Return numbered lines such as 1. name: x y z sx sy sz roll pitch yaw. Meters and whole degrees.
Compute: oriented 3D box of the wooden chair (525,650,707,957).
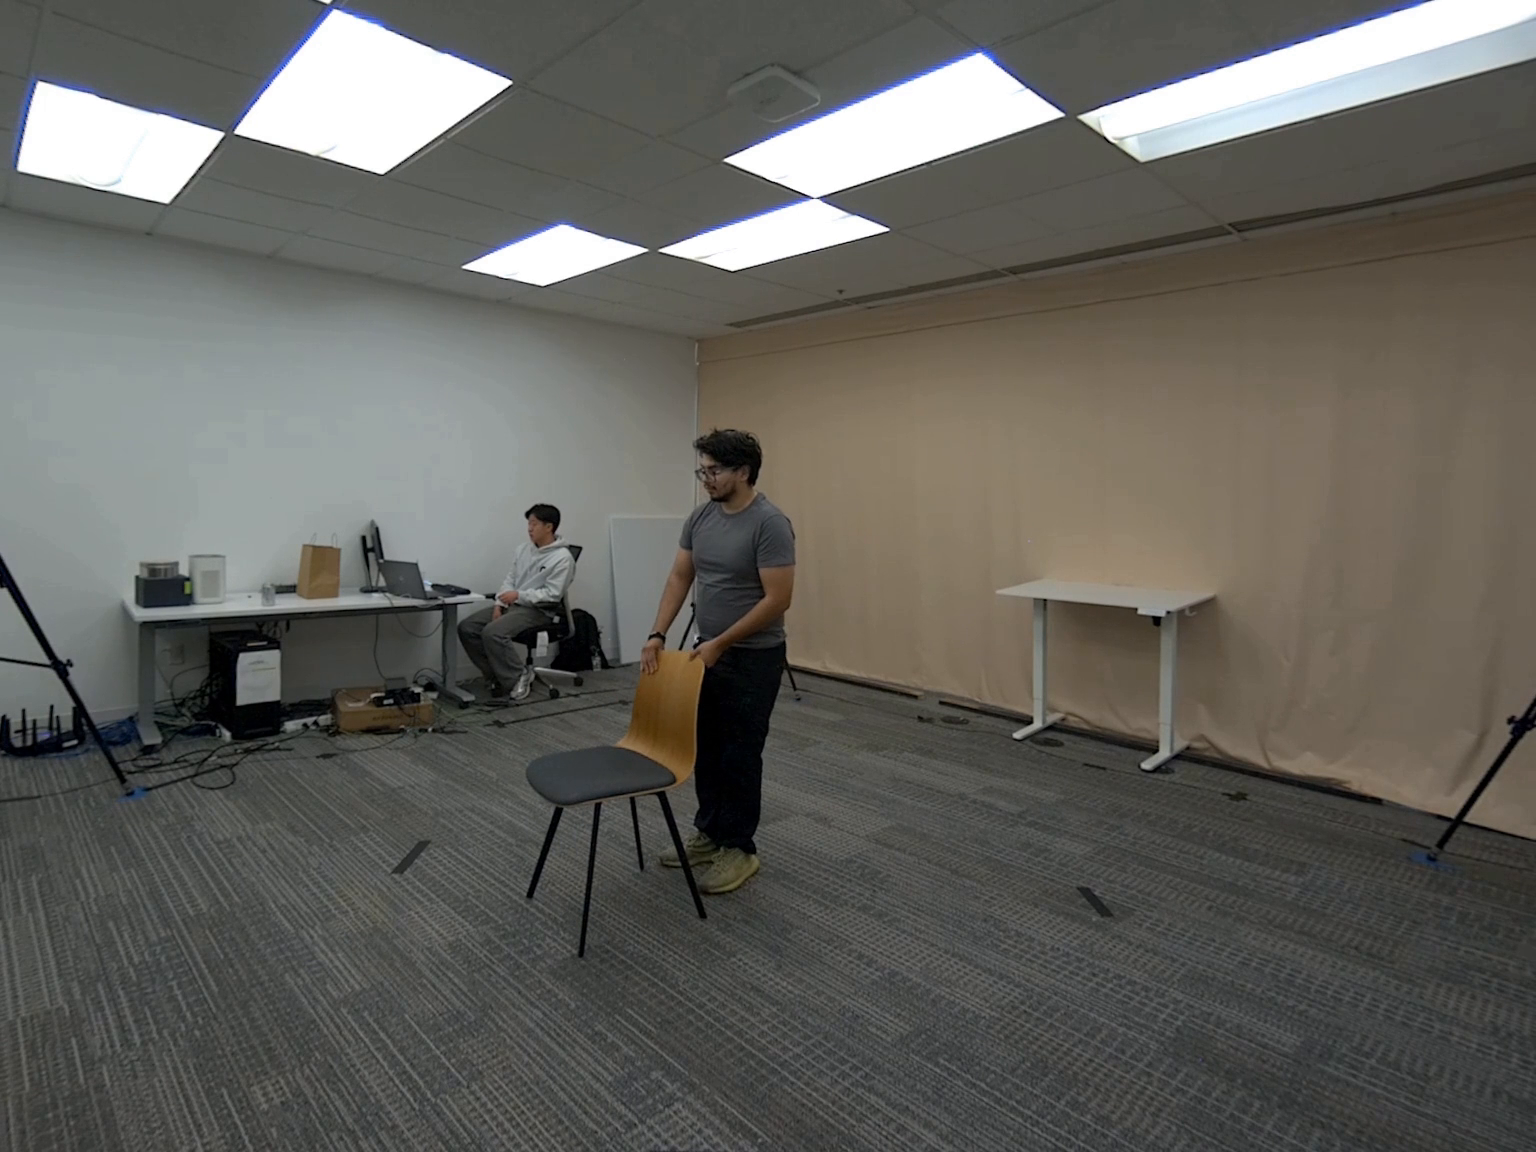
1. wooden chair: -0.515 0.700 2.805 0.511 0.877 0.490 4 1 -35
